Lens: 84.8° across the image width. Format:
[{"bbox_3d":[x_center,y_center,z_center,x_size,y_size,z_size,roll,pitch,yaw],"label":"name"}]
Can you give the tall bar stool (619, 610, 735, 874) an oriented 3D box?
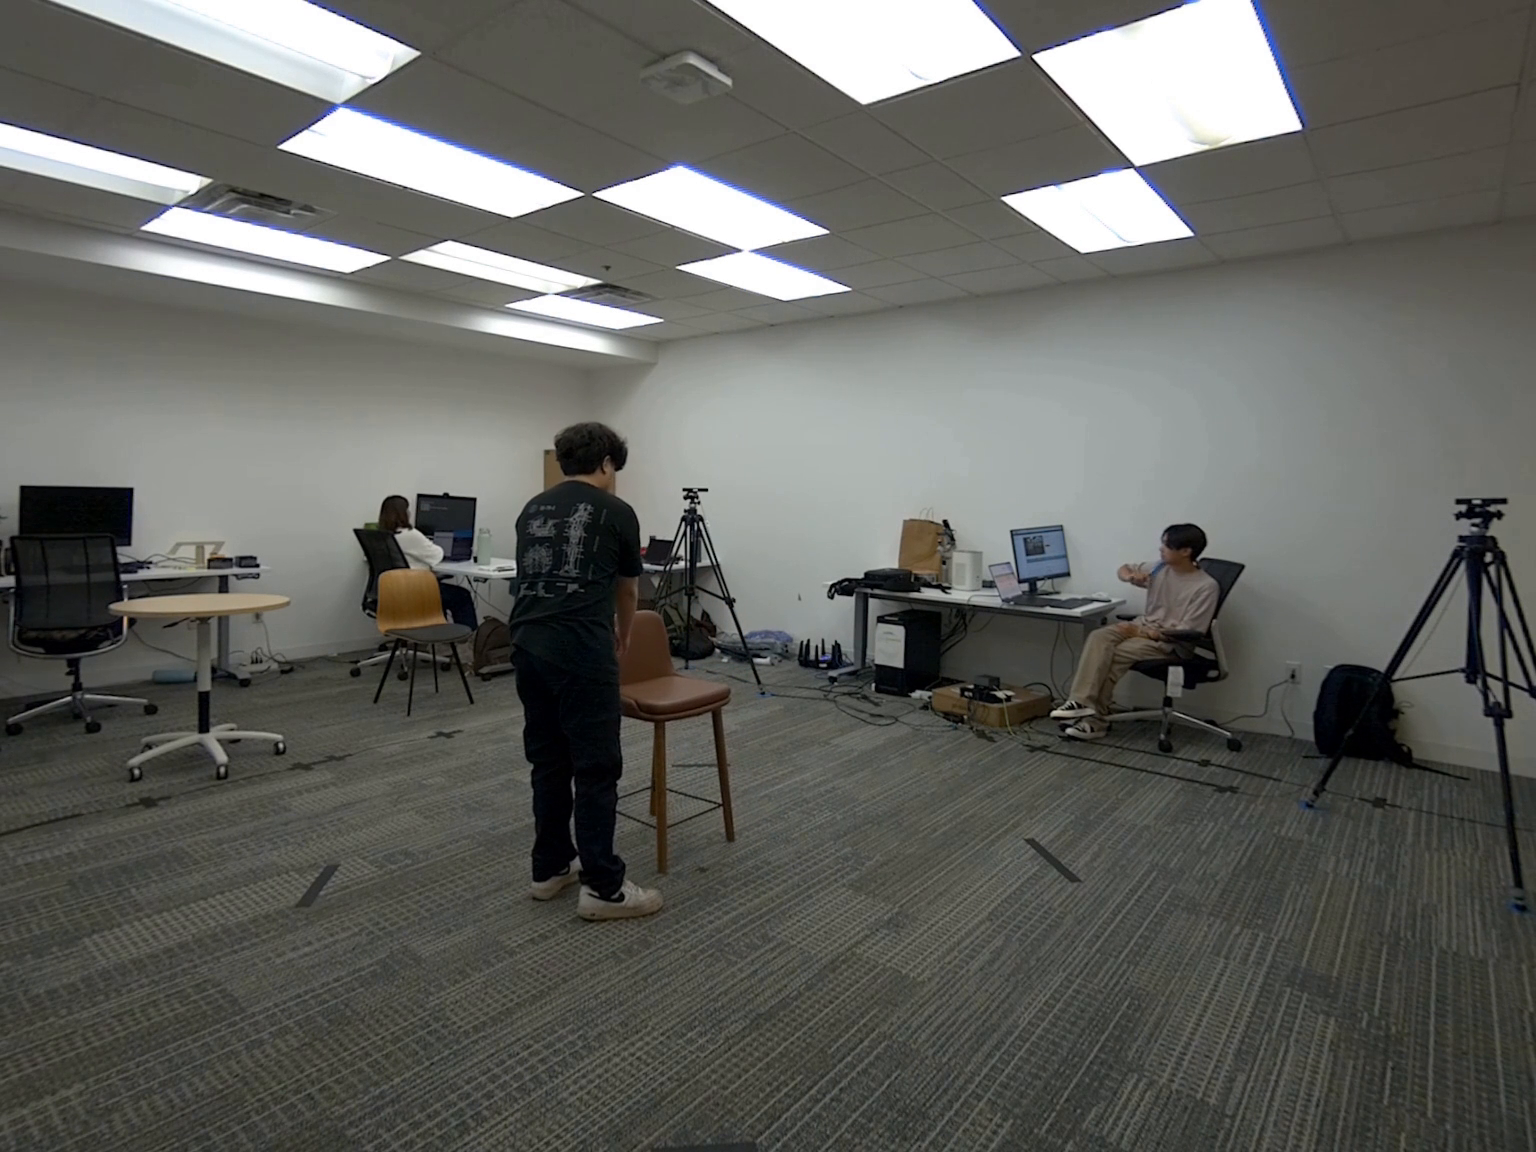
[{"bbox_3d":[-0.434,0.602,3.349,0.482,0.889,0.443,0,2,40],"label":"tall bar stool"}]
